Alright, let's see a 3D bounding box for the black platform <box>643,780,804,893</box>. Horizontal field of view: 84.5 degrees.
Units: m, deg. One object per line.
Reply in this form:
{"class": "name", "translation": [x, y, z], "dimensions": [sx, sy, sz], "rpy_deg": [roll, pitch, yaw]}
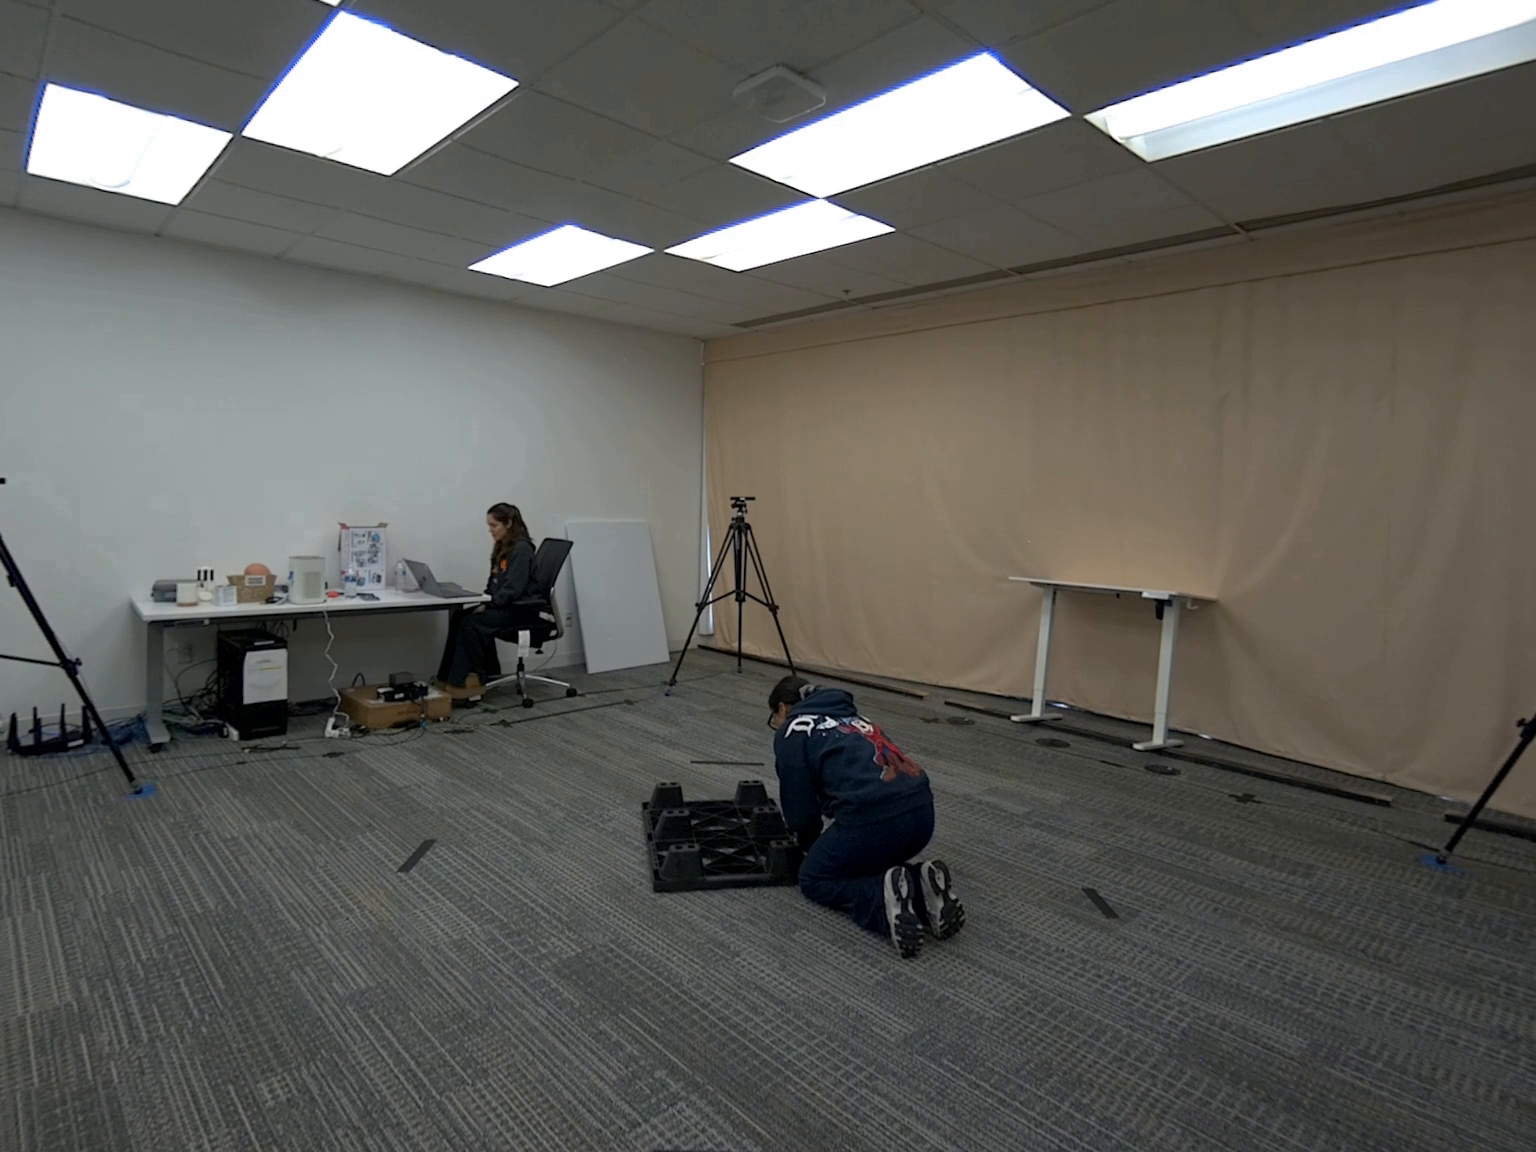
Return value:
{"class": "black platform", "translation": [-0.189, 1.012, 3.392], "dimensions": [0.599, 0.143, 0.815], "rpy_deg": [0, 5, -12]}
